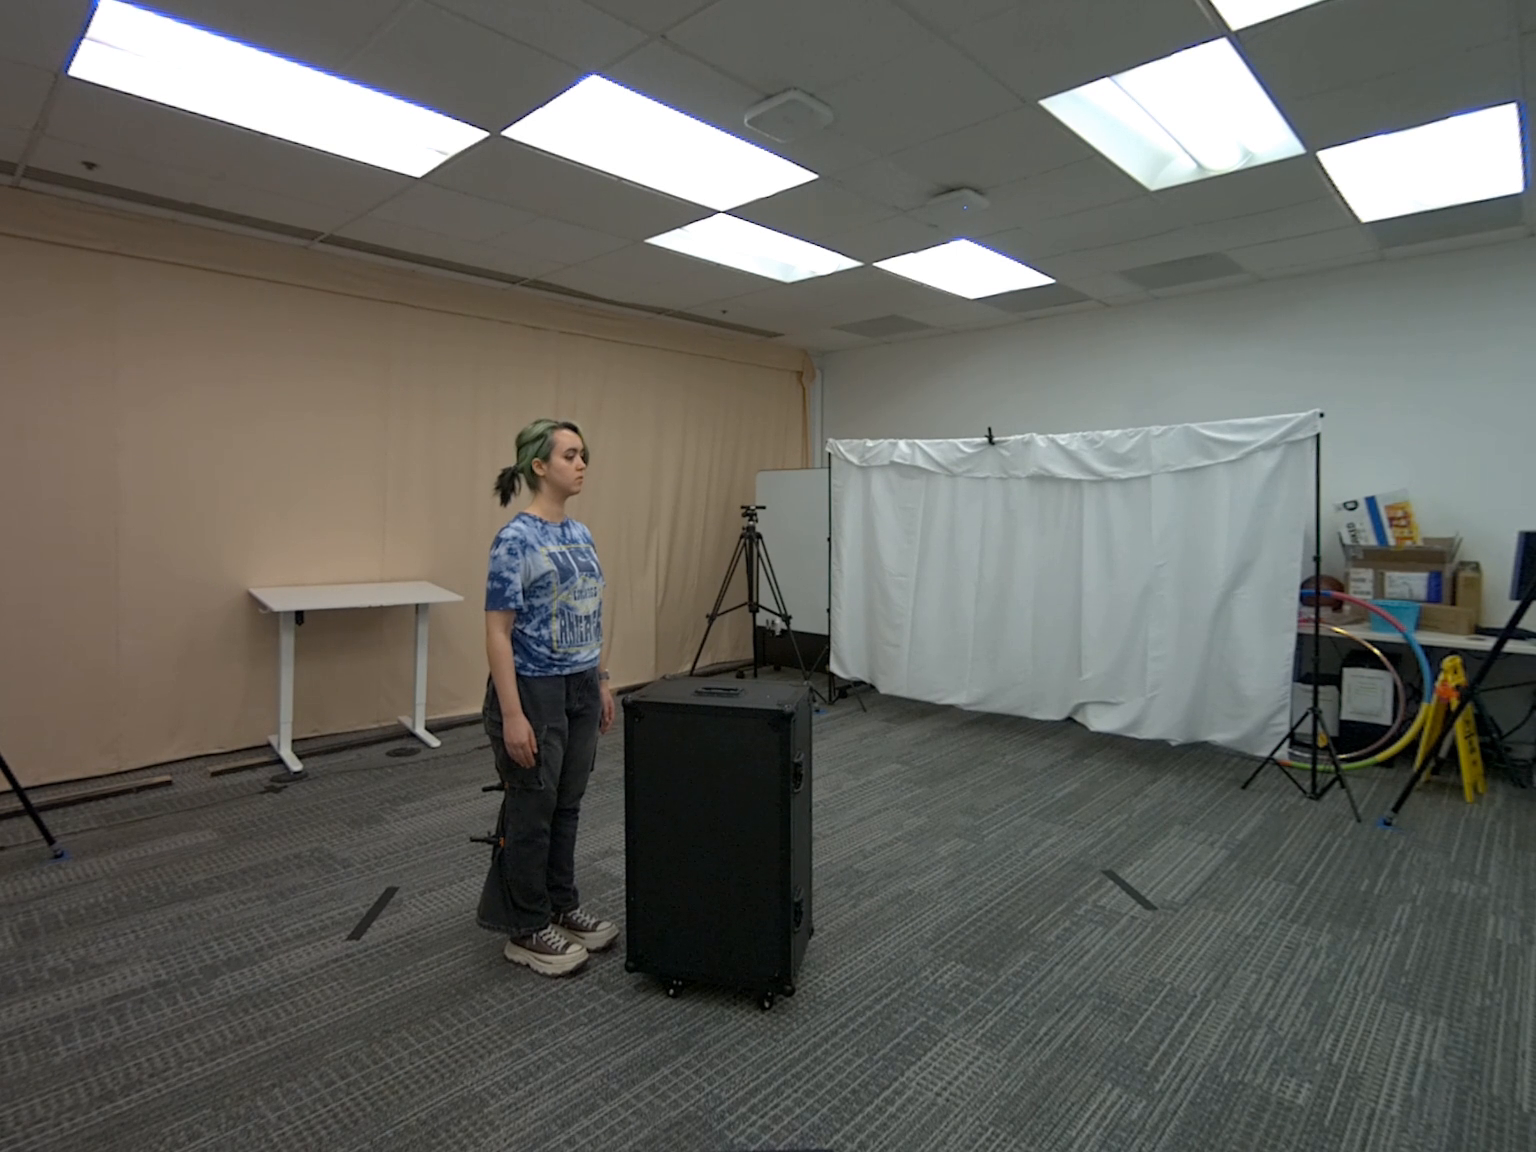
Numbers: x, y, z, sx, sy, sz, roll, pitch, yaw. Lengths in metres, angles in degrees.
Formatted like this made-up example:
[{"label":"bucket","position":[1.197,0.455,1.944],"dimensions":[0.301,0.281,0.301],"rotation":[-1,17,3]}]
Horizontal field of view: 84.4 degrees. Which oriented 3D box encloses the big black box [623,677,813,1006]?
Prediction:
[{"label":"big black box","position":[-0.134,0.766,2.484],"dimensions":[0.530,0.860,0.390],"rotation":[0,2,15]}]
